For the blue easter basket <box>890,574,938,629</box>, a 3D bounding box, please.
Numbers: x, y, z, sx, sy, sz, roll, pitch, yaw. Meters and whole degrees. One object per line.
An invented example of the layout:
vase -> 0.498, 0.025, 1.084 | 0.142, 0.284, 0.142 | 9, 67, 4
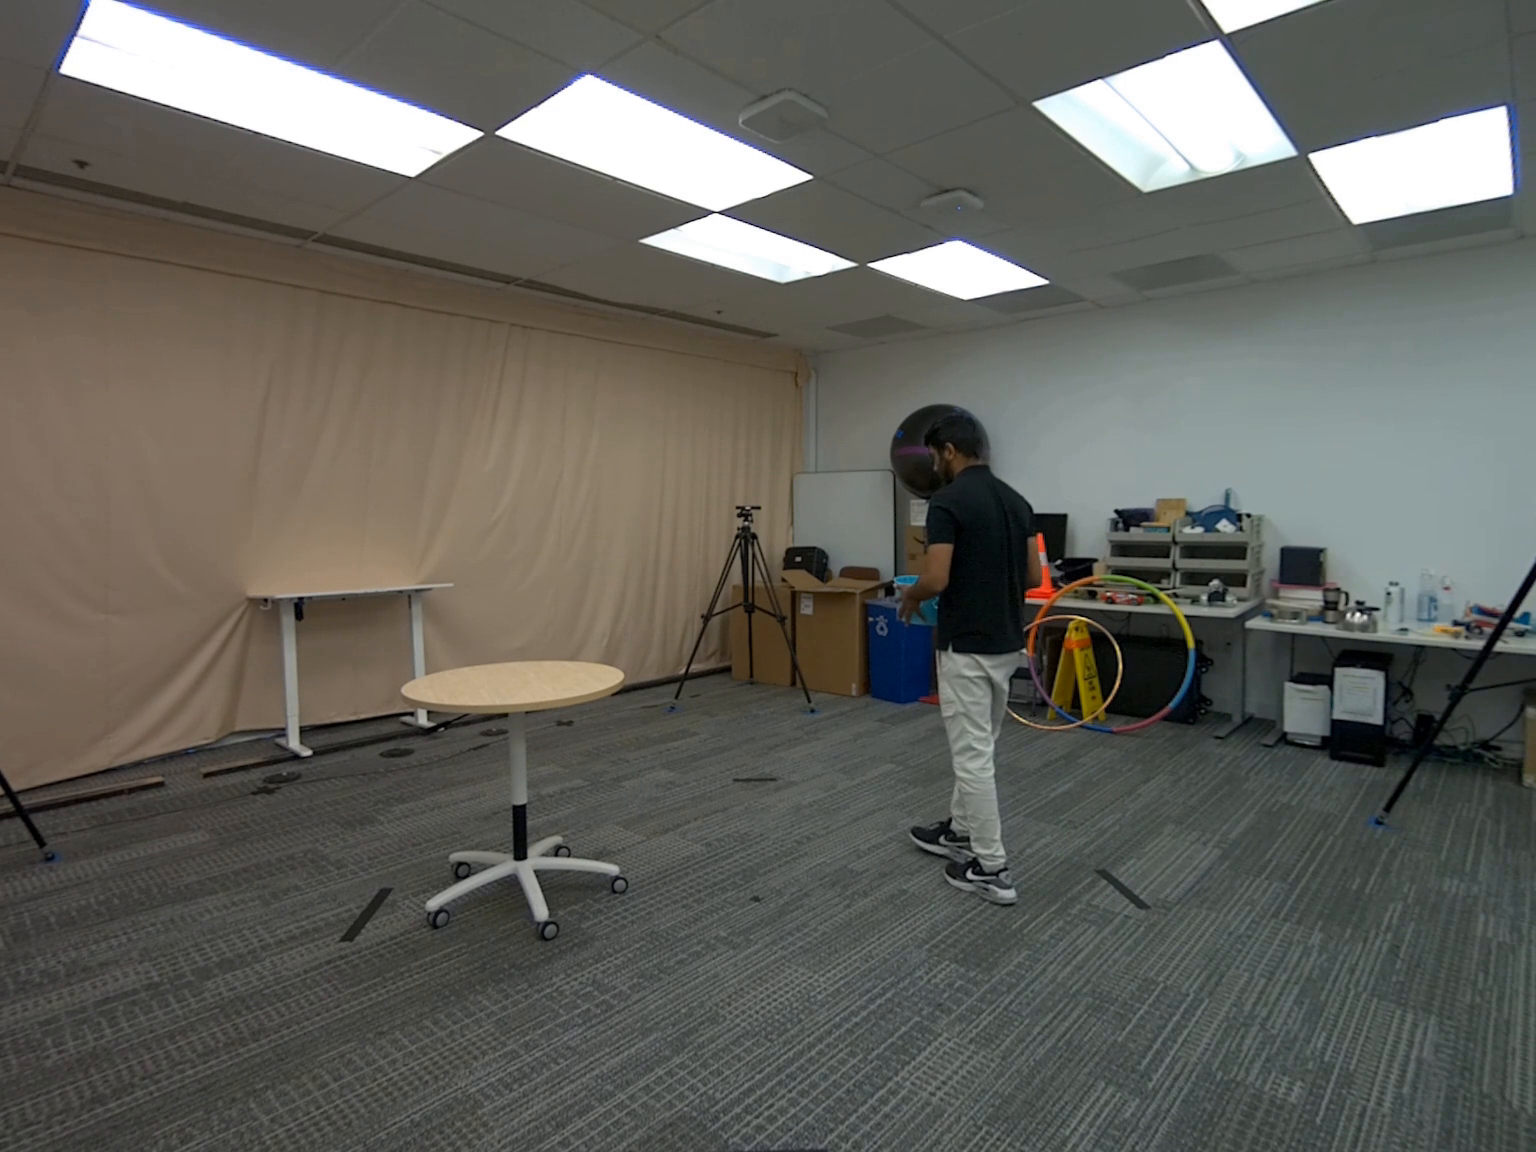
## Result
blue easter basket -> 0.637, 0.100, 3.345 | 0.243, 0.155, 0.245 | 4, 11, -3
